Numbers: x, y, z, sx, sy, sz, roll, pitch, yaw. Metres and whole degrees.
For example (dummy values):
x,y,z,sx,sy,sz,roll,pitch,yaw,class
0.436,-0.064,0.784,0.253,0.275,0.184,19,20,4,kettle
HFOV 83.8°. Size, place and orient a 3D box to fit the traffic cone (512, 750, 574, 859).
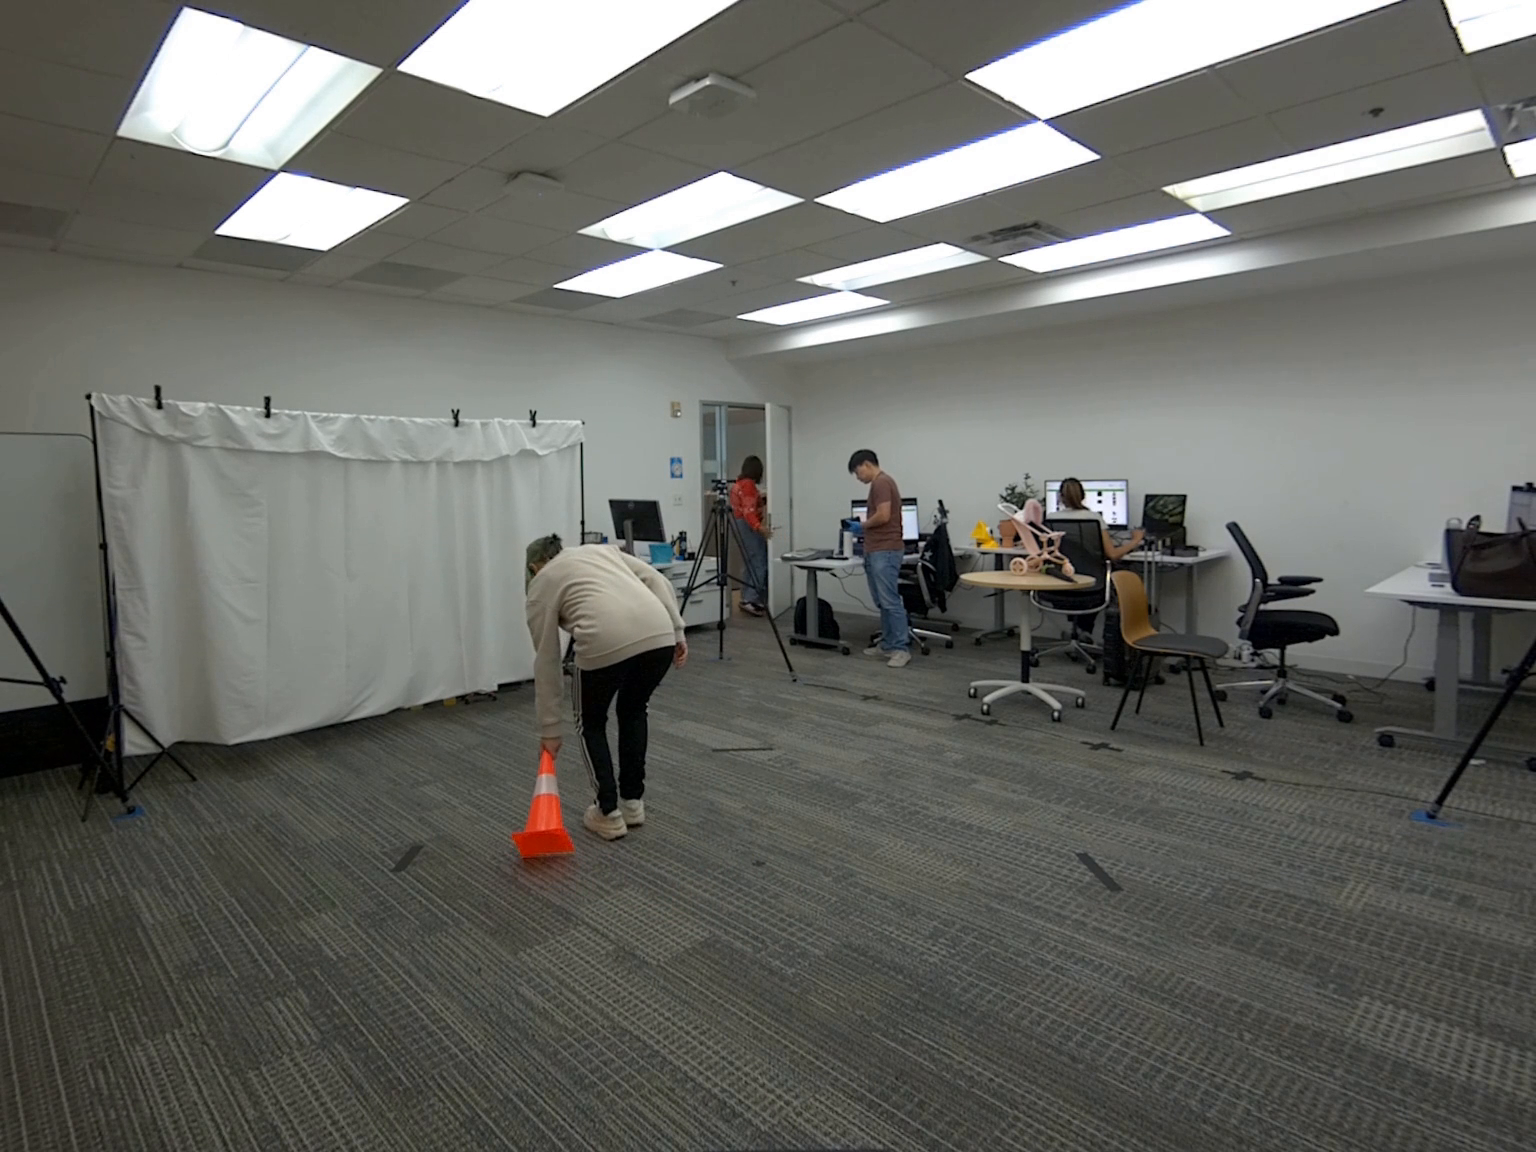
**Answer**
x,y,z,sx,sy,sz,roll,pitch,yaw,class
-0.853,0.843,3.266,0.205,0.197,0.396,-10,48,-1,traffic cone
